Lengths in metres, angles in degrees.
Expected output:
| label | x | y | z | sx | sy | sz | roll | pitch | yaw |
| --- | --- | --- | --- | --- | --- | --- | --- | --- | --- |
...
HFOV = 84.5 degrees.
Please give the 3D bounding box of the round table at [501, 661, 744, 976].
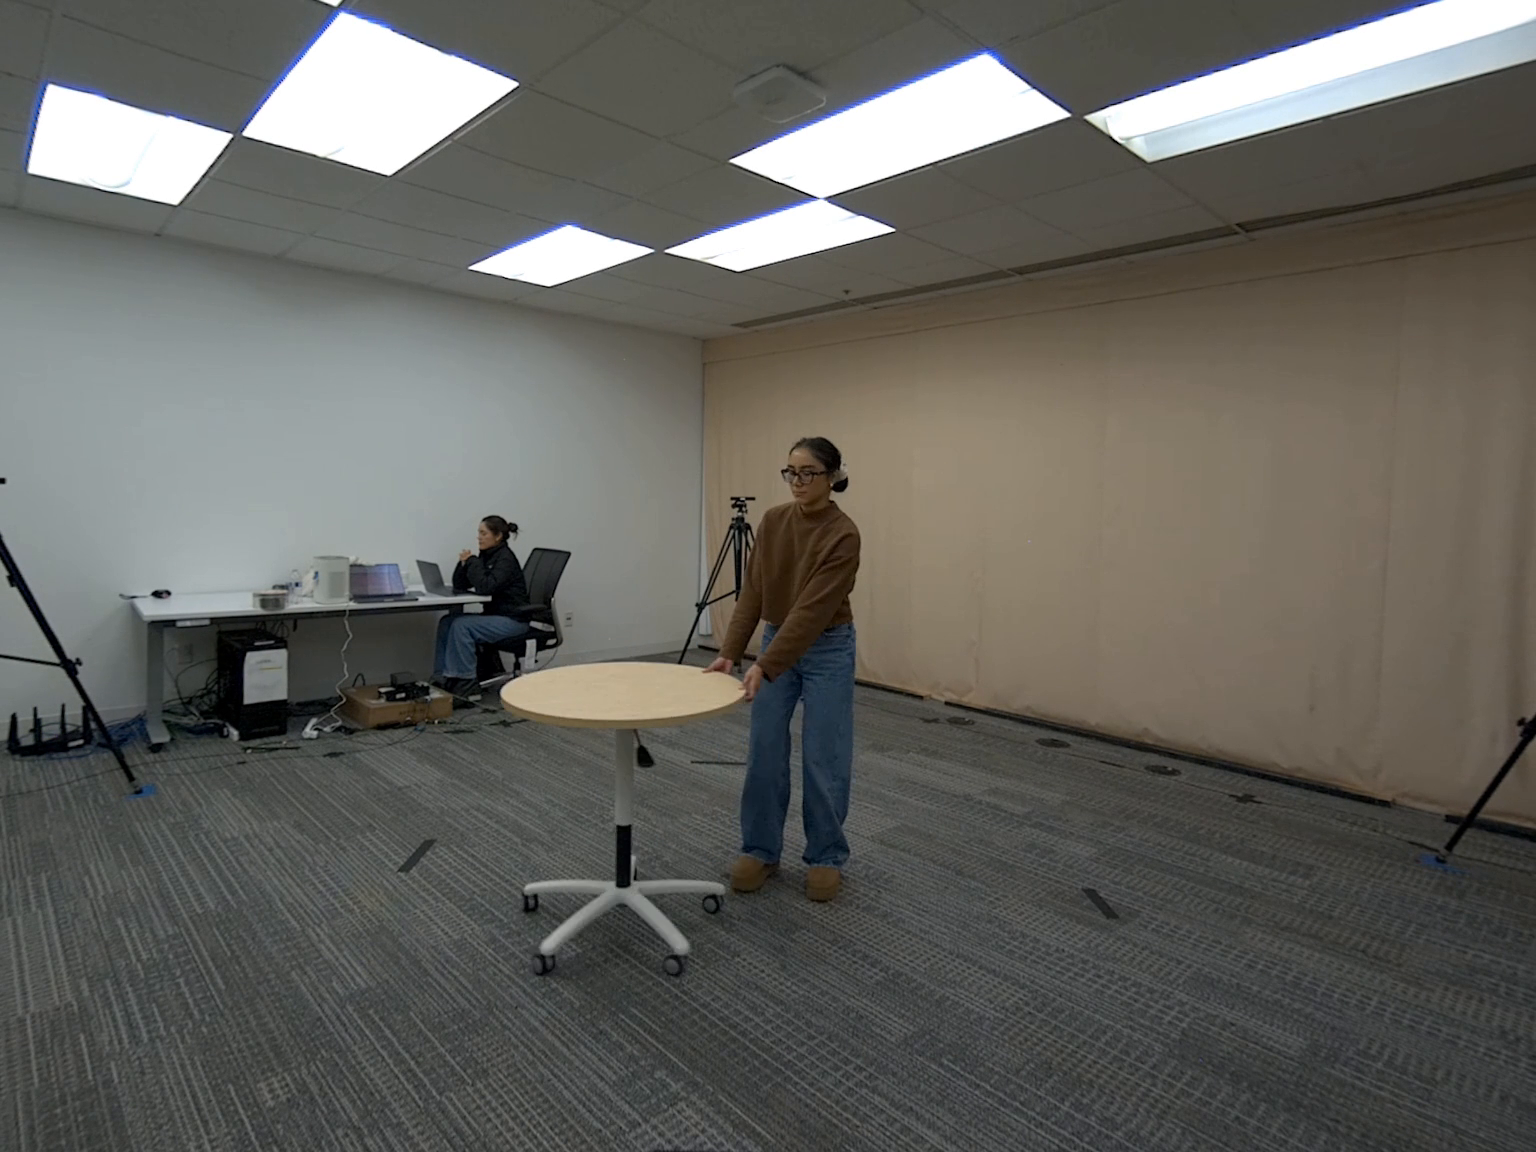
| label | x | y | z | sx | sy | sz | roll | pitch | yaw |
| --- | --- | --- | --- | --- | --- | --- | --- | --- | --- |
| round table | -0.457 | 0.742 | 2.711 | 0.784 | 0.784 | 0.788 | 1 | 5 | -1 |
